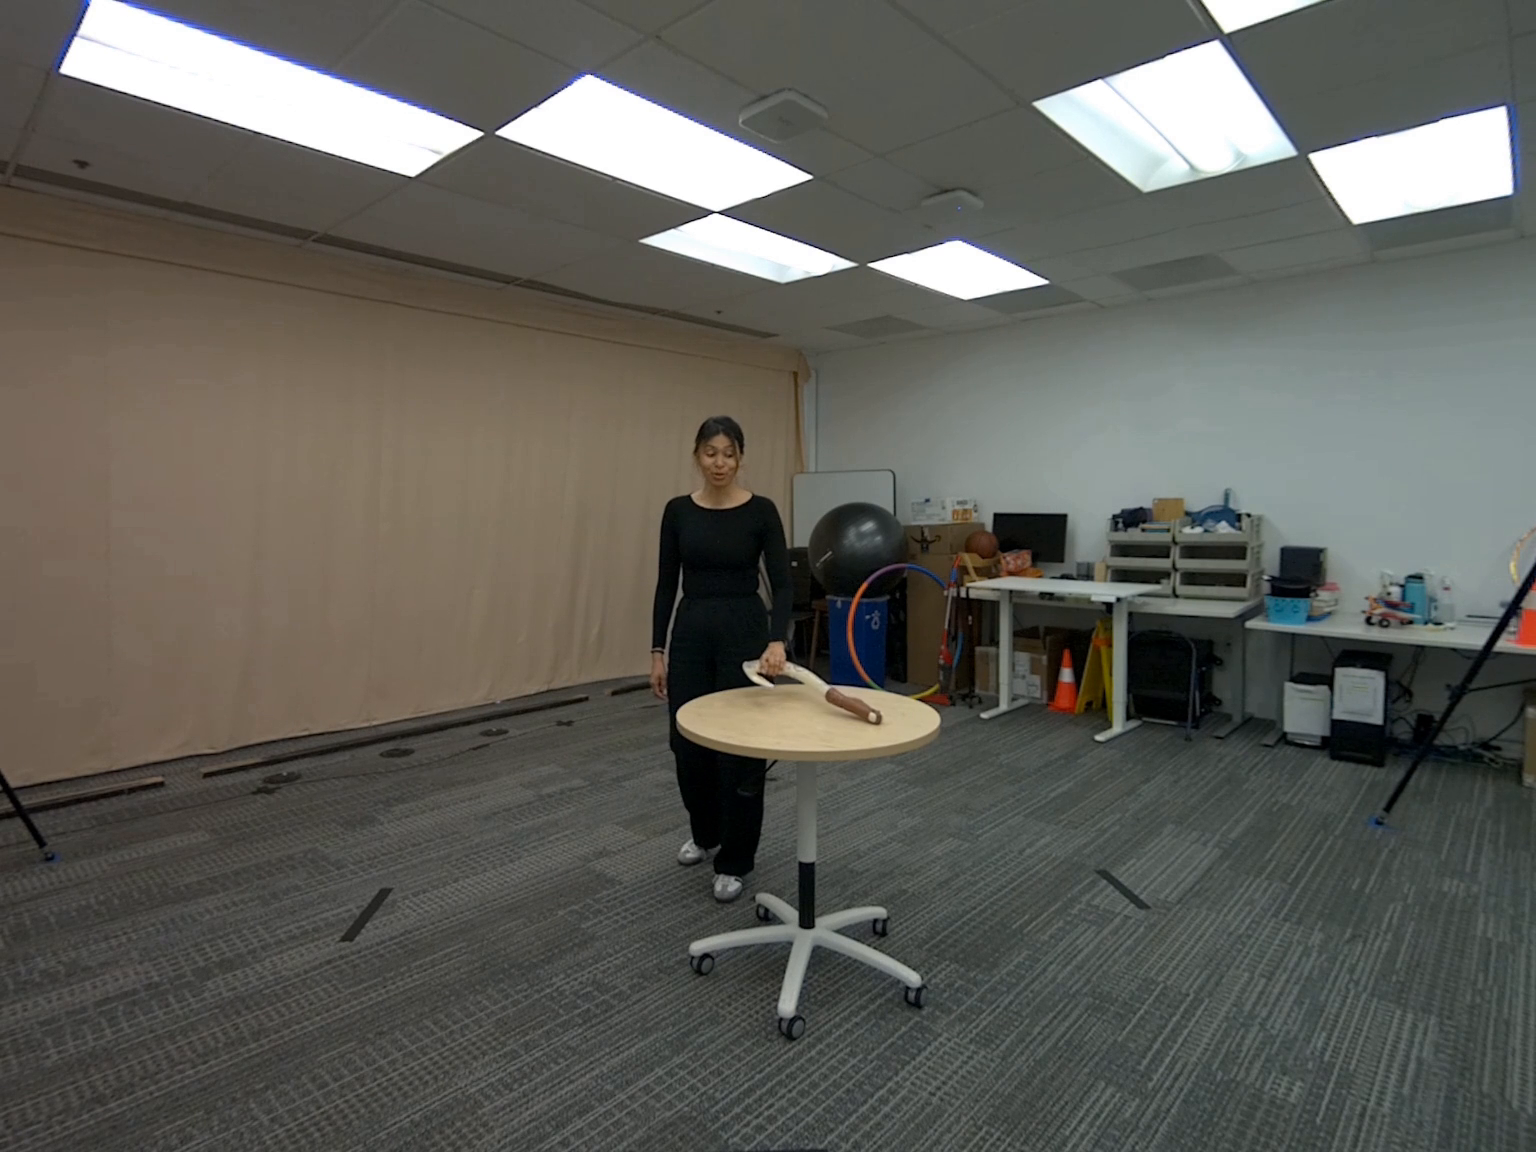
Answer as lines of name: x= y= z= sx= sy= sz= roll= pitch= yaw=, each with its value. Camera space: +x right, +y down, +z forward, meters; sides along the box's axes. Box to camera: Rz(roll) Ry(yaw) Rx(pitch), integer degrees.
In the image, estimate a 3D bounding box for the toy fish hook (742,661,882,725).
toy fish hook: x=0.125 y=0.347 z=2.495 sx=0.218 sy=0.048 sz=0.525 roll=-6 pitch=16 yaw=-35
